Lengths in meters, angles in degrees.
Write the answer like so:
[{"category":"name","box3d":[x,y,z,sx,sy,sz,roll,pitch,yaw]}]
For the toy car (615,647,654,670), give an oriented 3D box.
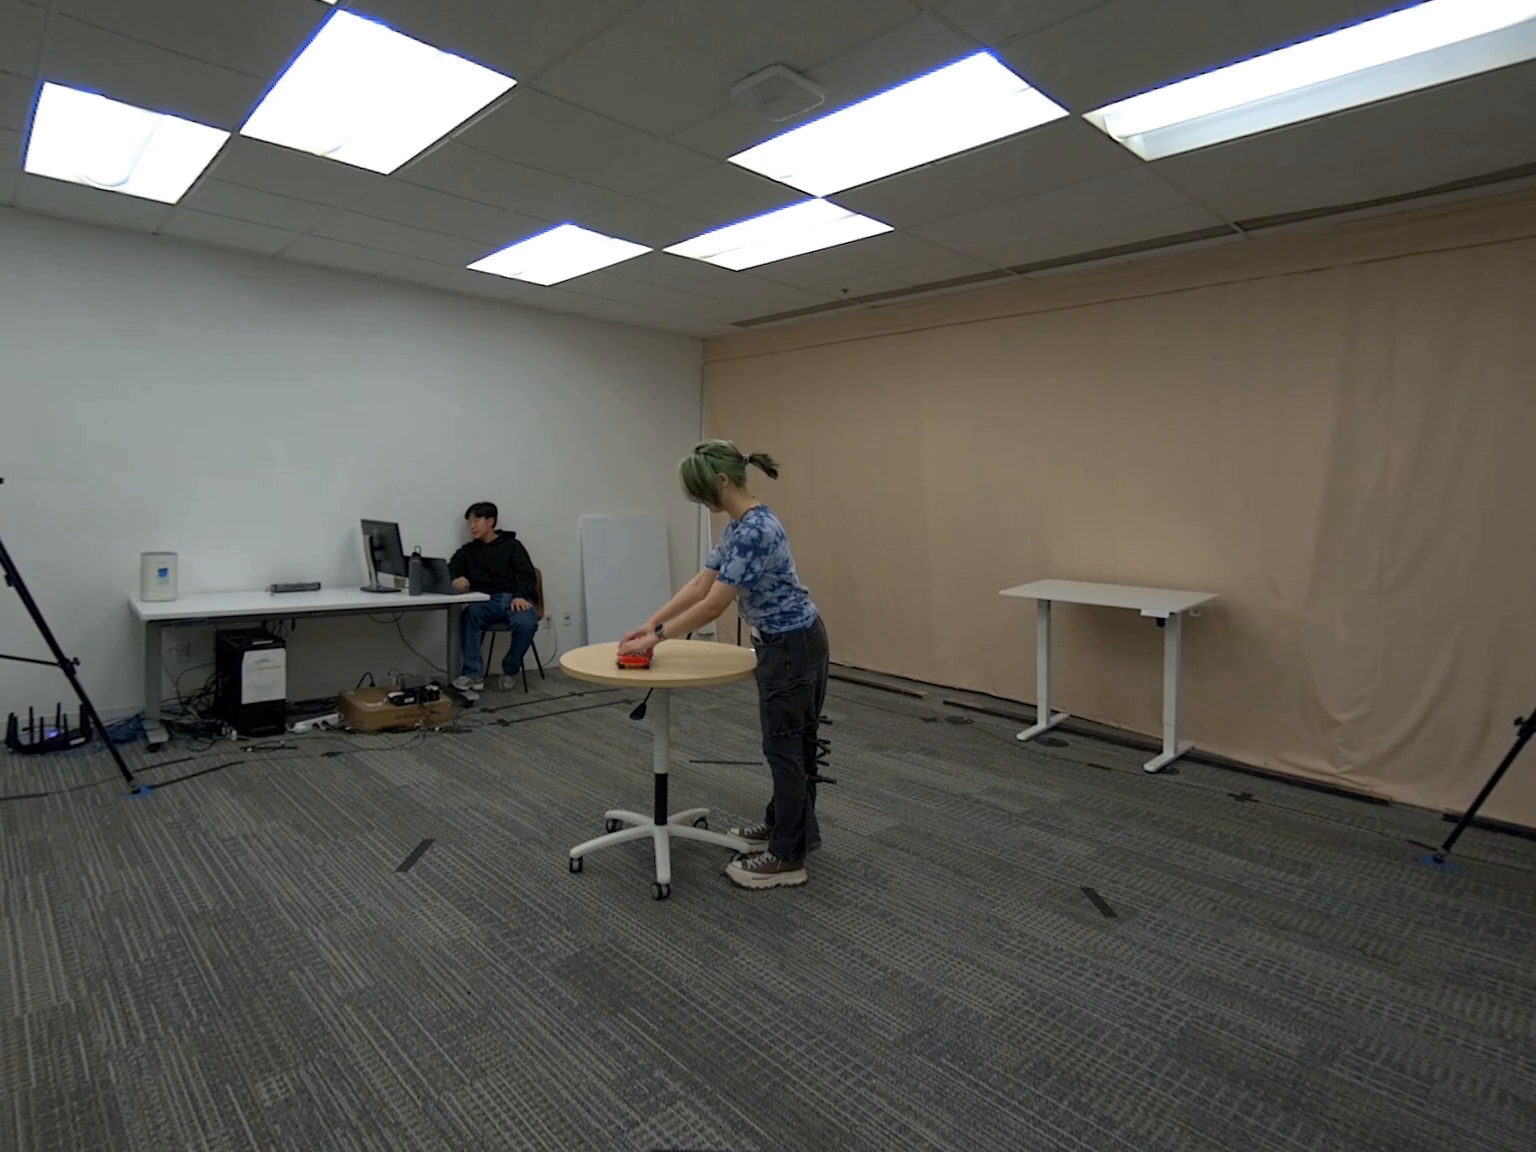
[{"category":"toy car","box3d":[-0.486,0.288,3.060,0.130,0.082,0.257,1,12,-3]}]
